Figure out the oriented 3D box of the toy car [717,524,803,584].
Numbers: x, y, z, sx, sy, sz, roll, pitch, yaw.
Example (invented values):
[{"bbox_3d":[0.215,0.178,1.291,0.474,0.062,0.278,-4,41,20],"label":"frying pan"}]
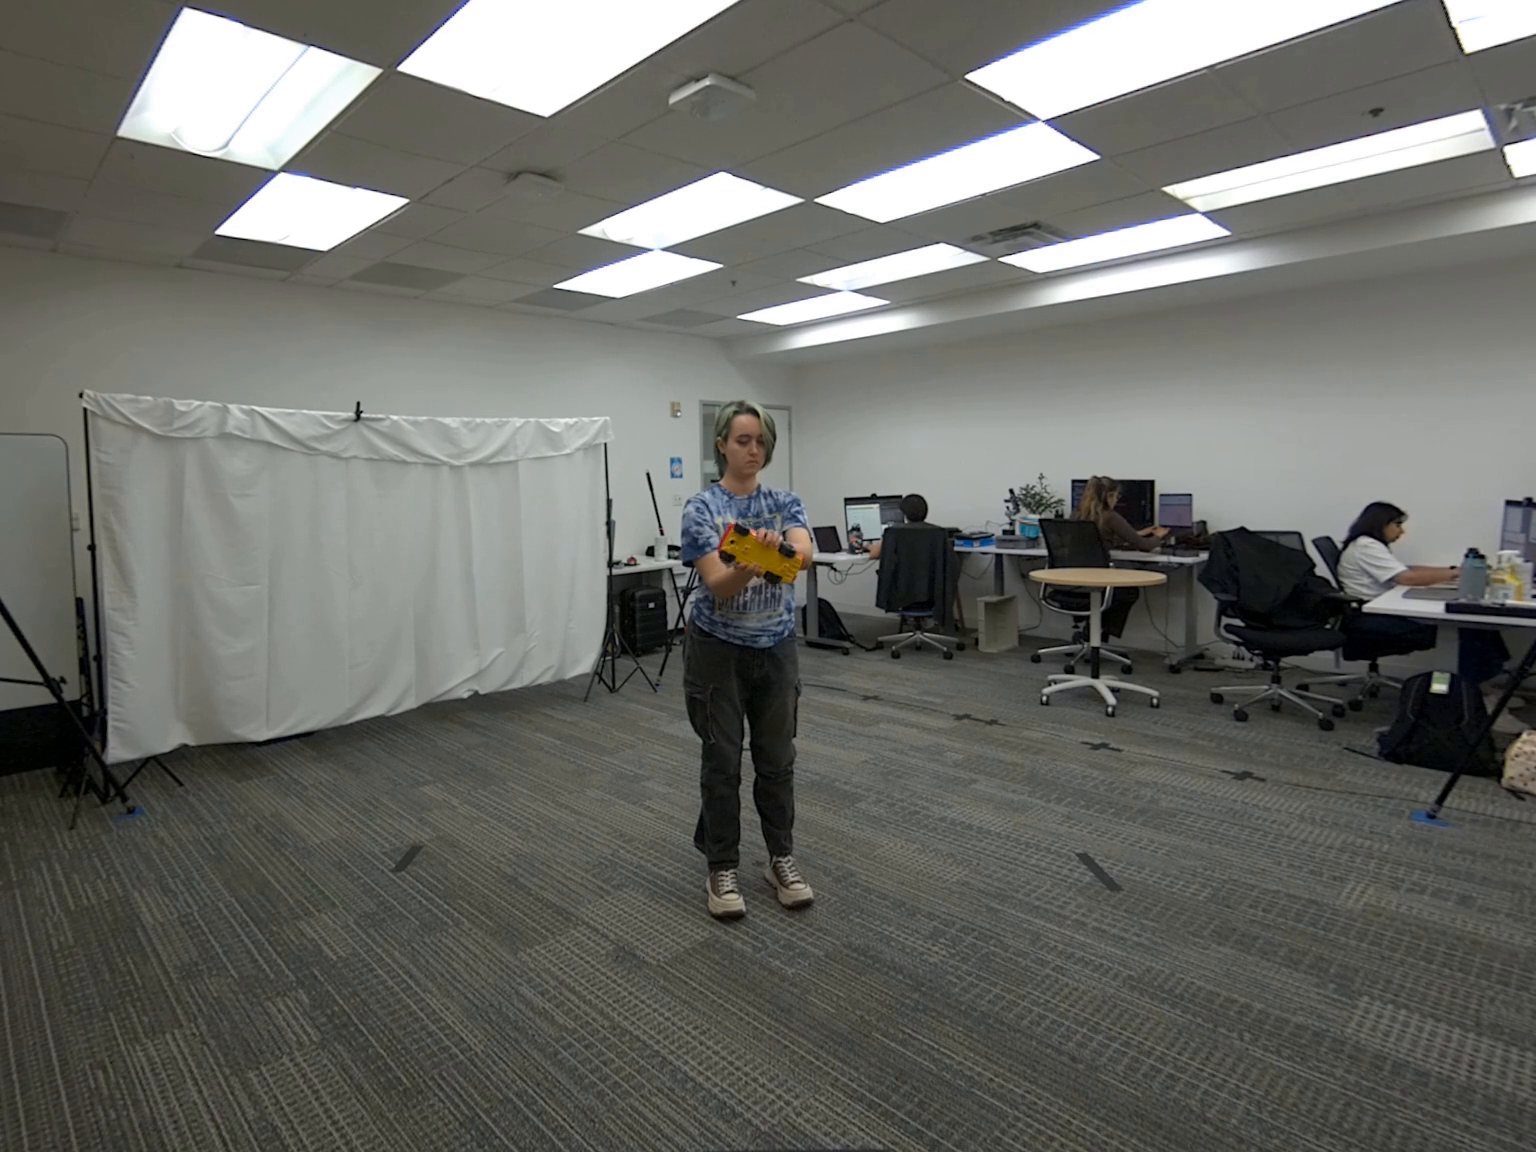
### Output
[{"bbox_3d":[-0.010,-0.056,2.364,0.248,0.130,0.086,23,12,-23],"label":"toy car"}]
